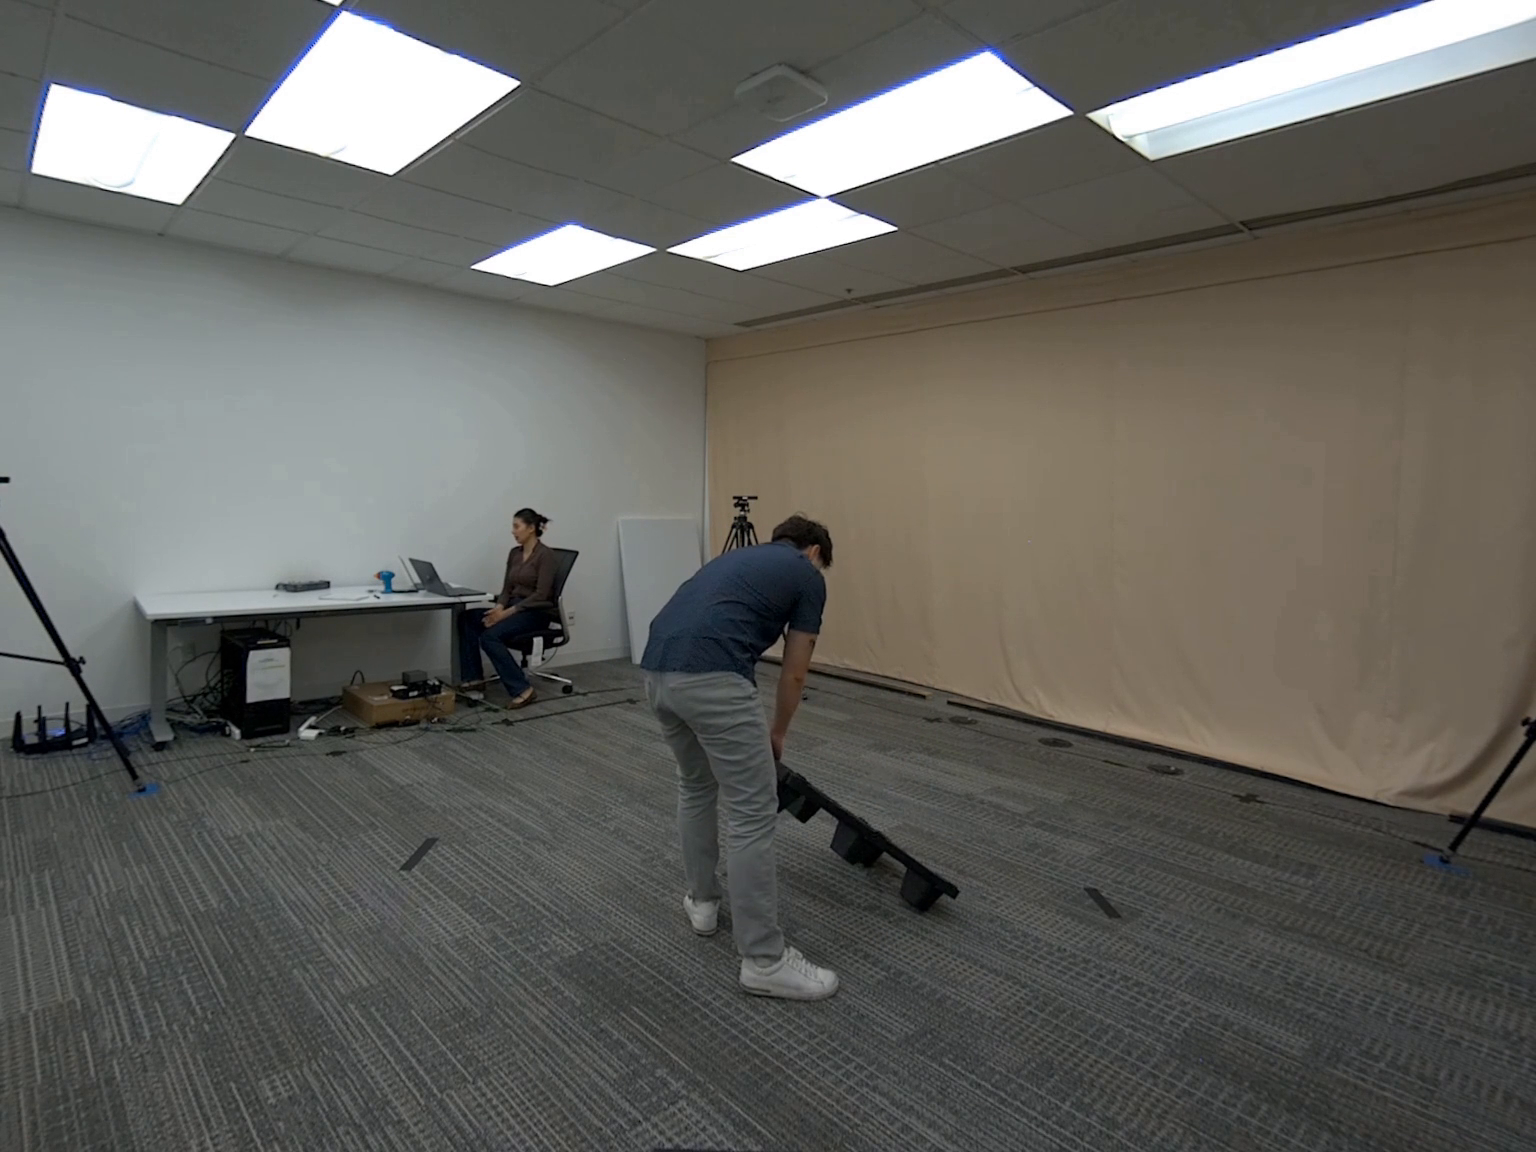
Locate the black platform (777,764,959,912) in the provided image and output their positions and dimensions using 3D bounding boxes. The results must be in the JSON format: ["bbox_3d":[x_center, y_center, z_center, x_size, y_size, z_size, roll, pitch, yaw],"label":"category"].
[{"bbox_3d":[0.205,0.852,2.962,0.790,0.143,0.616,39,-11,-19],"label":"black platform"}]
